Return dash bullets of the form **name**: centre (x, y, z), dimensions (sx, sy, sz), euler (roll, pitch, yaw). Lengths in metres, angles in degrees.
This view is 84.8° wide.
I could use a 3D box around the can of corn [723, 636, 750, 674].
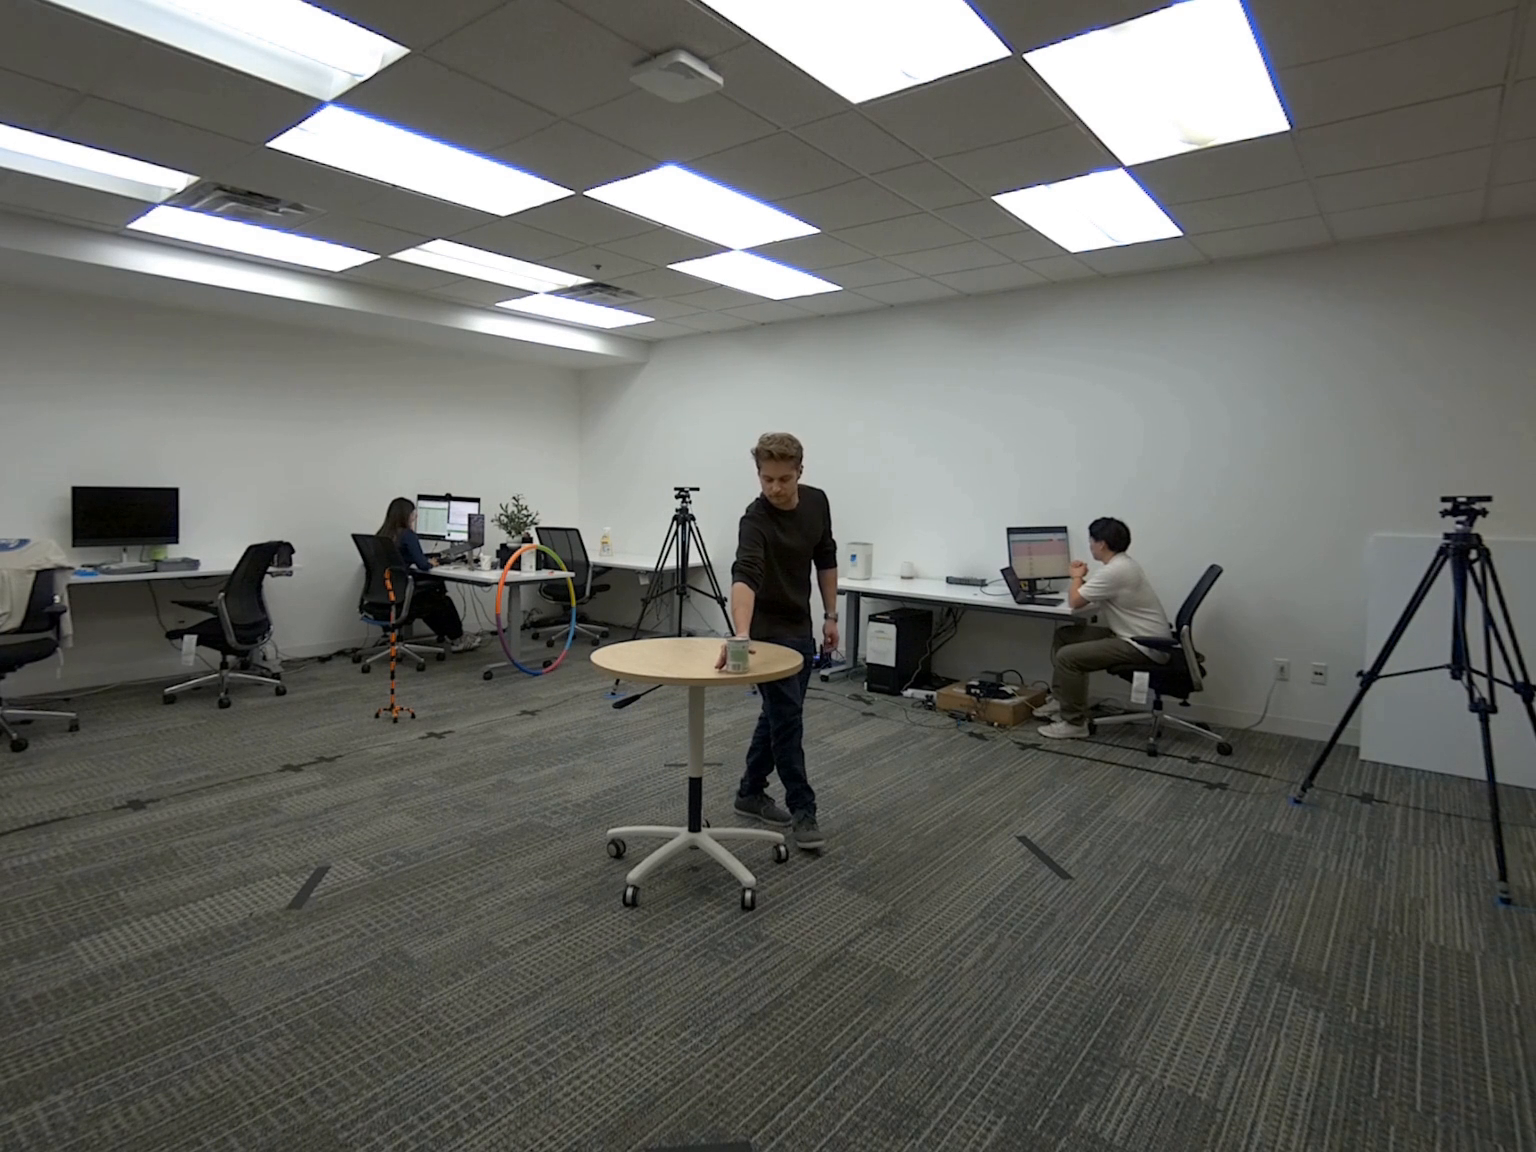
- **can of corn**: centre (-0.114, 0.259, 2.785), dimensions (0.074, 0.111, 0.074), euler (2, 3, -2)
